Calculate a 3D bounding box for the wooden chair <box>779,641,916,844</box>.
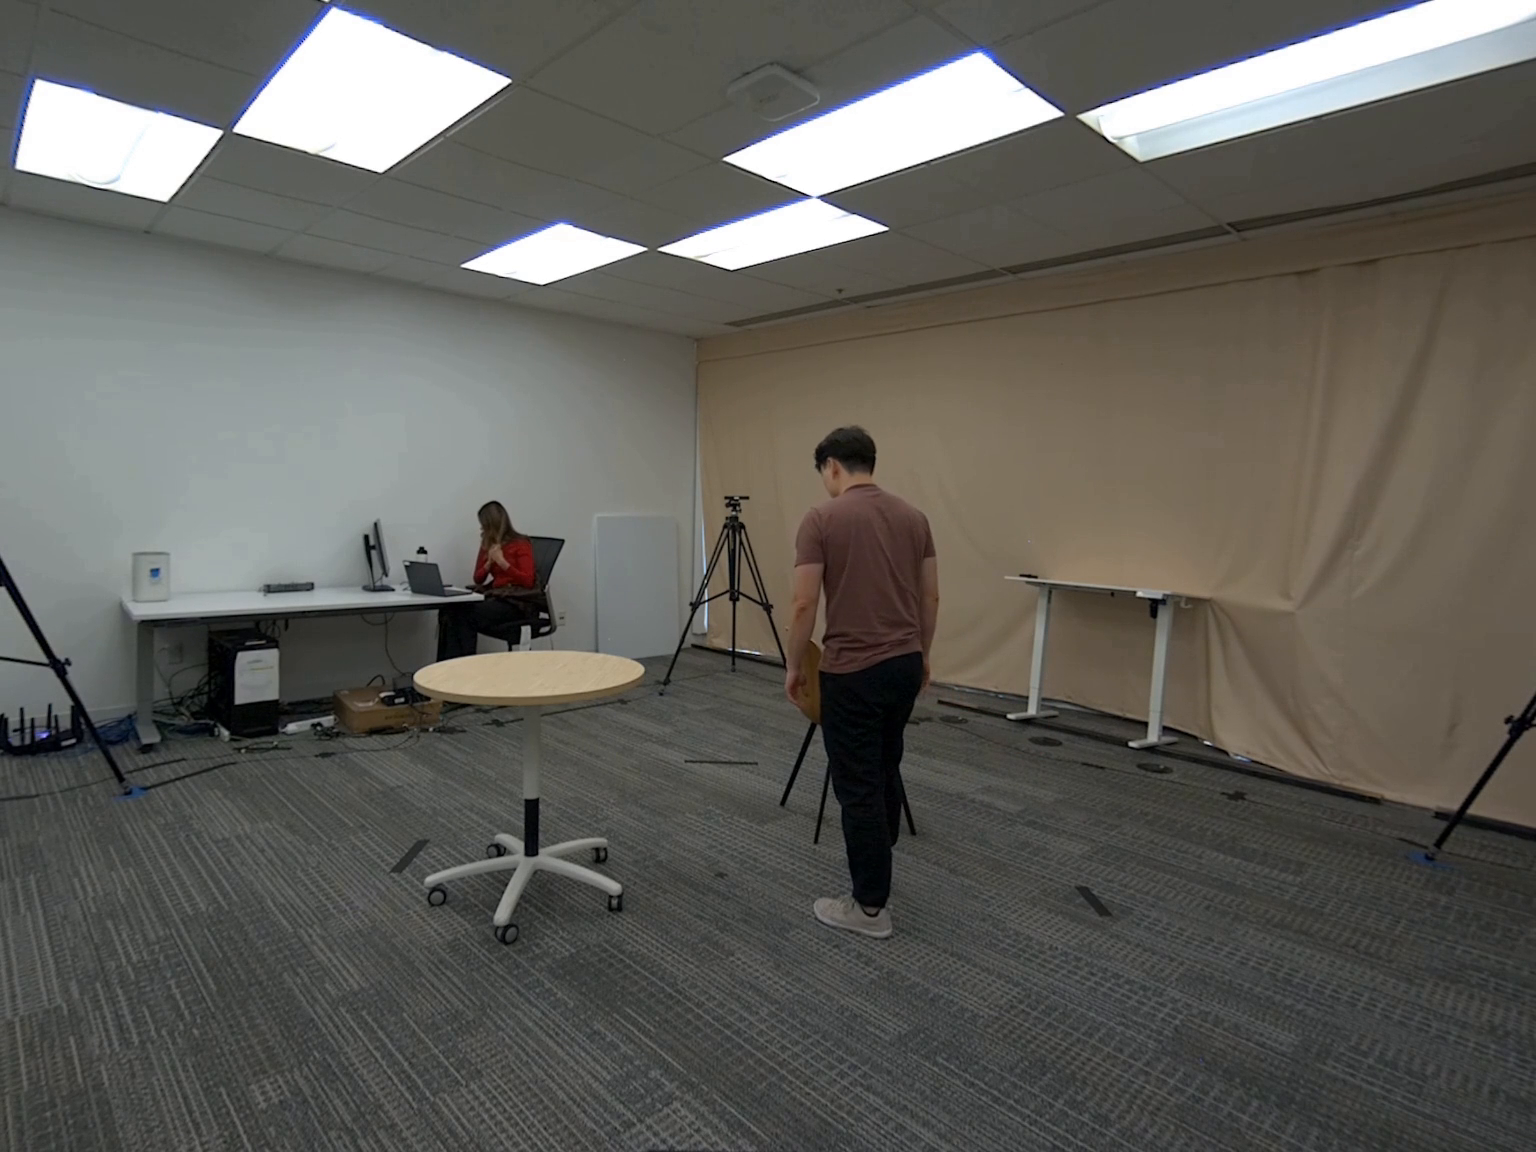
[{"bbox_3d":[0.351,0.642,3.651,0.517,0.874,0.485,-3,5,-17],"label":"wooden chair"}]
